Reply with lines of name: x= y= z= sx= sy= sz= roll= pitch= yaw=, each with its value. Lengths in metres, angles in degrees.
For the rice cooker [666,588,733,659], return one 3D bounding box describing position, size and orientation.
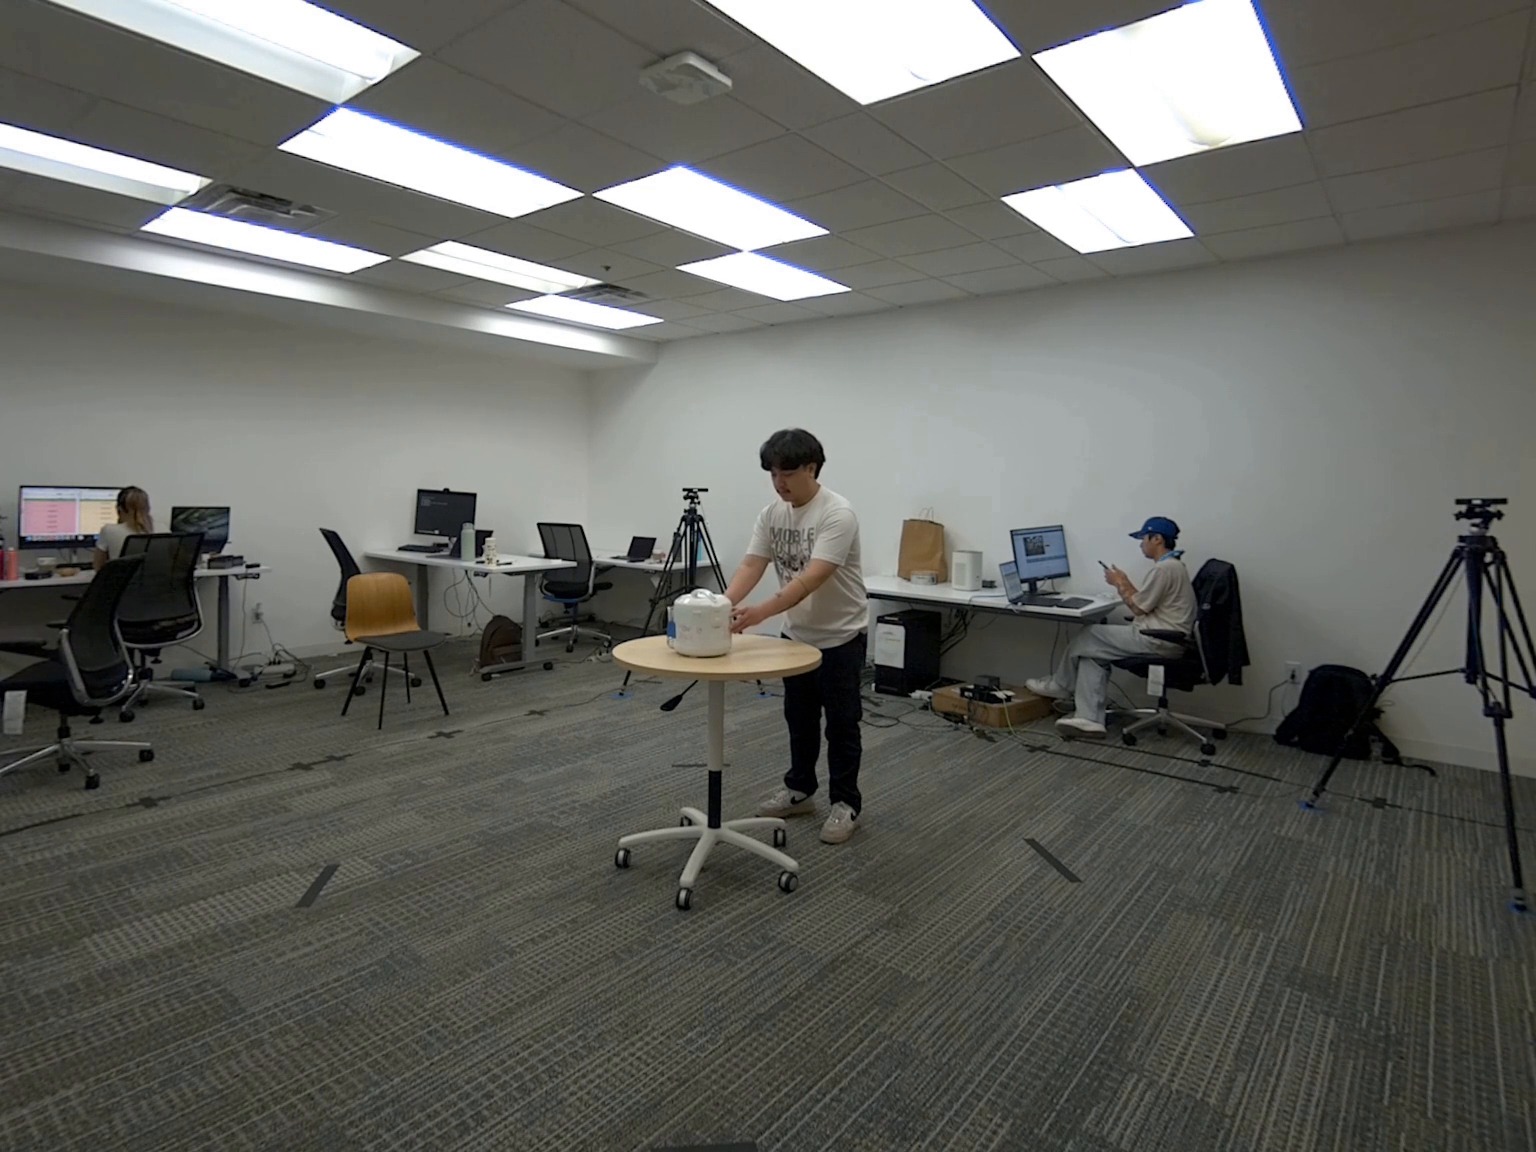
rice cooker: x=-0.245 y=0.161 z=3.063 sx=0.212 sy=0.232 sz=0.227 roll=-2 pitch=6 yaw=-30
